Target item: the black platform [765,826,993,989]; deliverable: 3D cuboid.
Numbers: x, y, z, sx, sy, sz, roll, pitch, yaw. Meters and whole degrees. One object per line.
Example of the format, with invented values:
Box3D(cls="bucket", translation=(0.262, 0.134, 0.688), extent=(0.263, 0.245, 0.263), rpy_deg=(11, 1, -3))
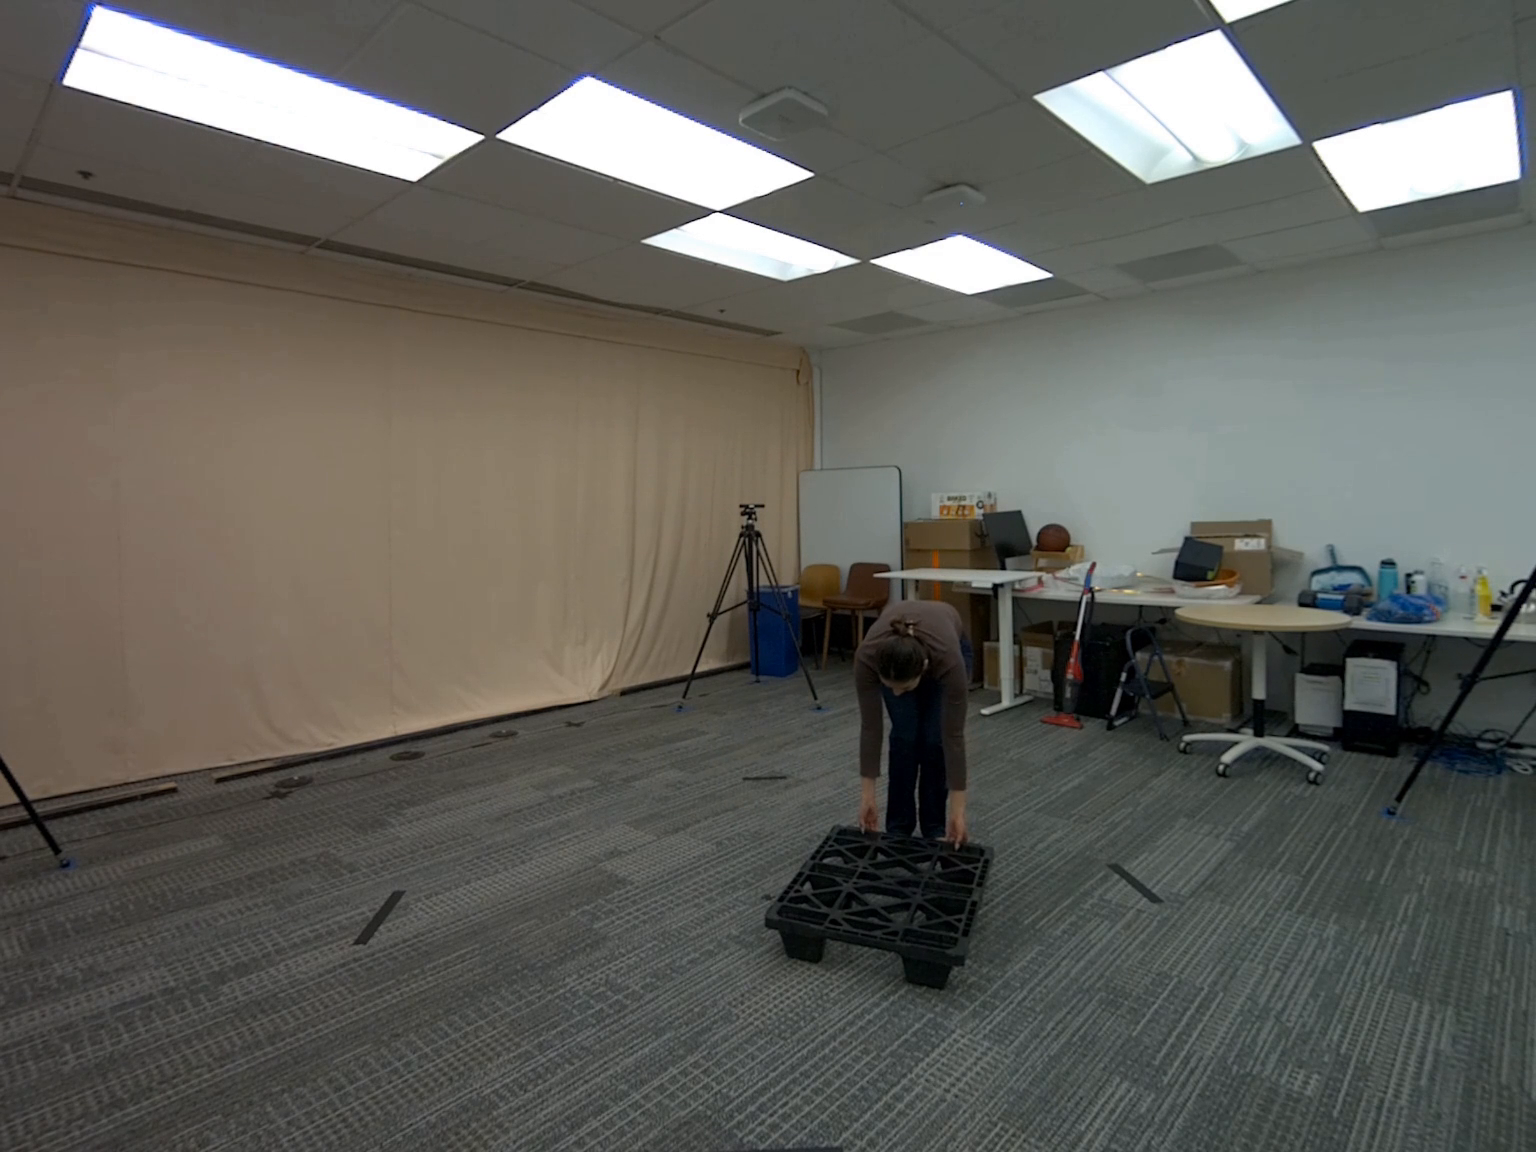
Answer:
Box3D(cls="black platform", translation=(0.412, 1.080, 2.818), extent=(0.619, 0.143, 0.789), rpy_deg=(2, 6, 22))
